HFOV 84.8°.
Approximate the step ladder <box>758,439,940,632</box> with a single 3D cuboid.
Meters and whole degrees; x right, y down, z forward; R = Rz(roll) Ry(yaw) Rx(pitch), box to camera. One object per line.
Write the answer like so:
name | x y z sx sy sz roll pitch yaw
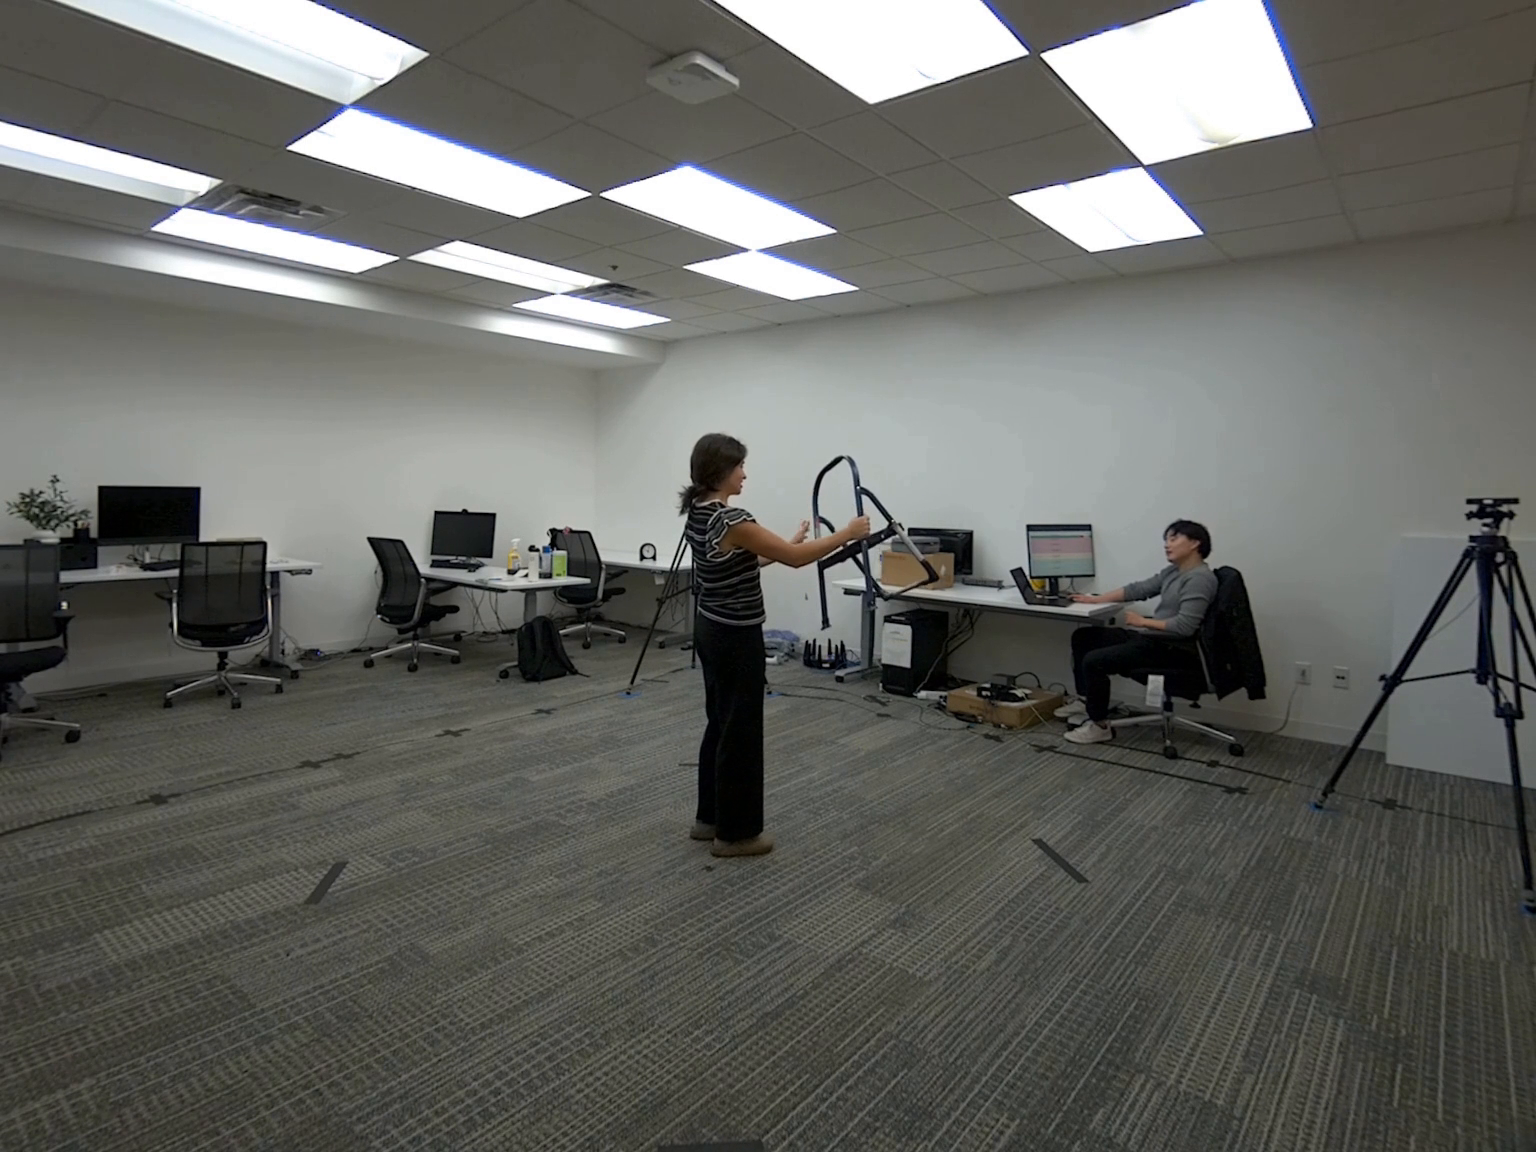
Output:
step ladder | 0.305 -0.154 3.384 0.344 0.612 0.433 -21 -7 -24
